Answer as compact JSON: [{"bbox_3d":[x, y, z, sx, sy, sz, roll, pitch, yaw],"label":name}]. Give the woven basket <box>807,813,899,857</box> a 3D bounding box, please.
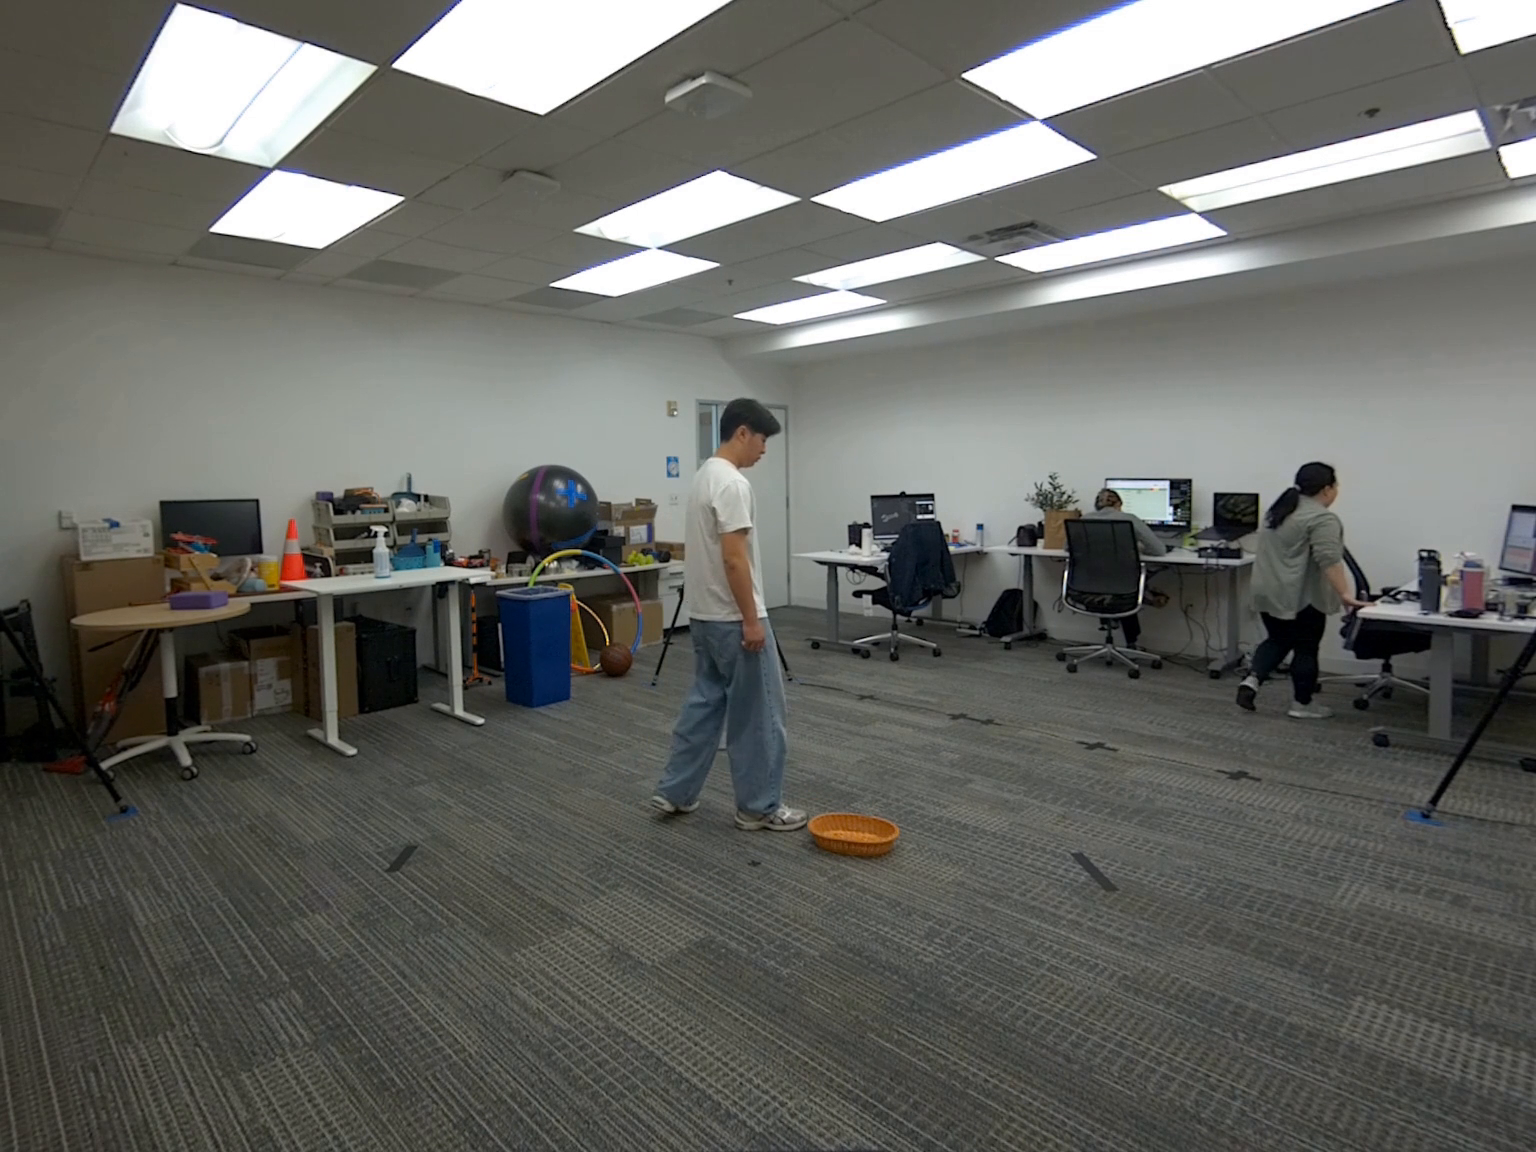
[{"bbox_3d":[0.322,0.982,3.251,0.358,0.073,0.248,1,6,22],"label":"woven basket"}]
